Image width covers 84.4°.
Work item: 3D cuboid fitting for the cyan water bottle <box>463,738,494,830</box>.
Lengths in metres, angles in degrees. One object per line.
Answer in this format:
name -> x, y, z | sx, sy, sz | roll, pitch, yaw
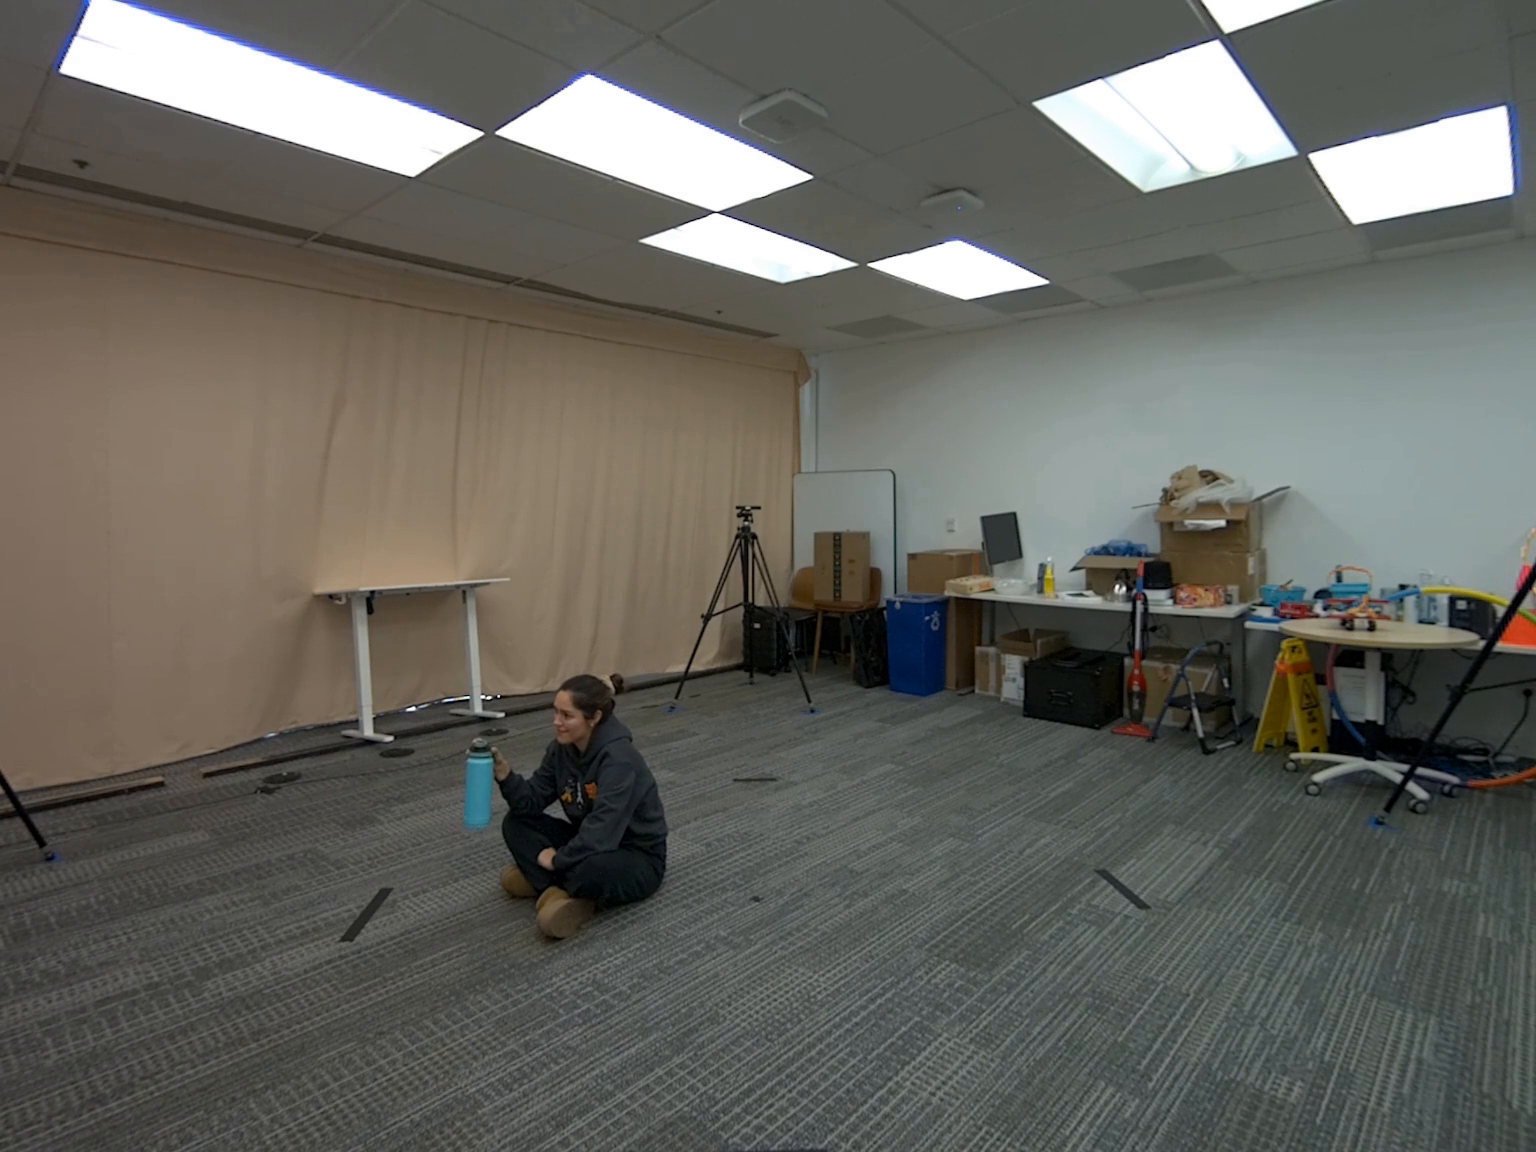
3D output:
cyan water bottle -> -0.973, 0.713, 2.888 | 0.092, 0.284, 0.092 | 0, -3, -2
